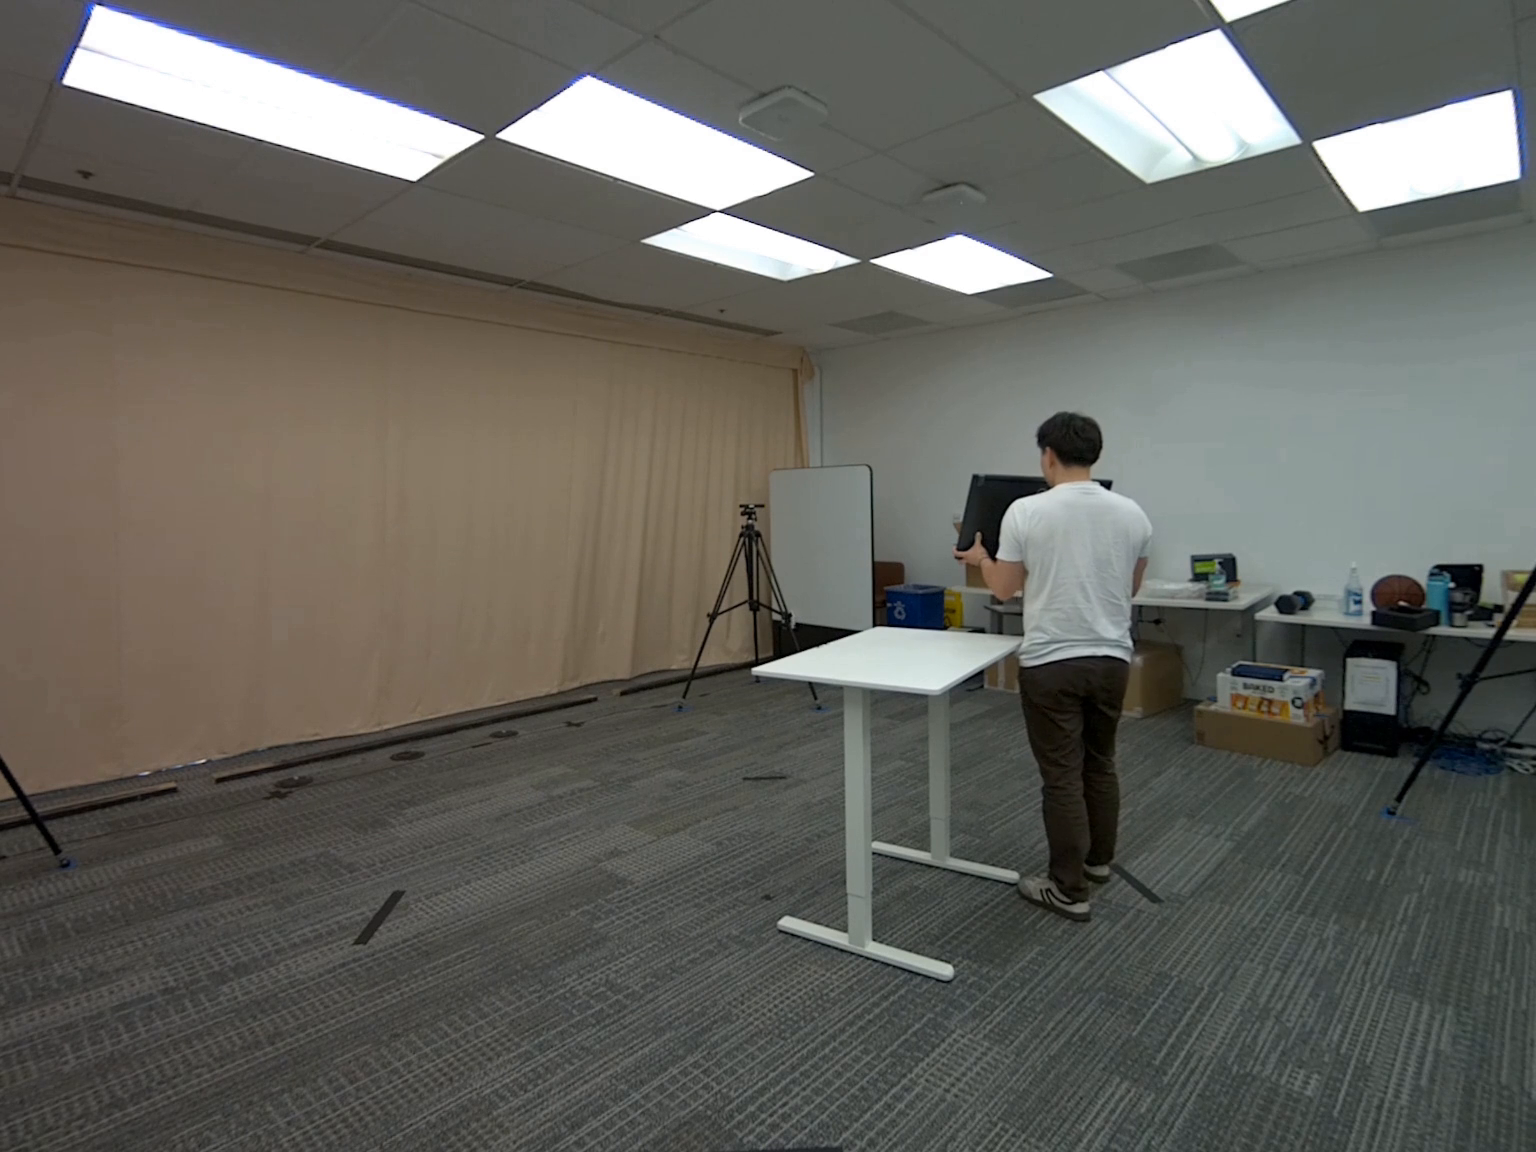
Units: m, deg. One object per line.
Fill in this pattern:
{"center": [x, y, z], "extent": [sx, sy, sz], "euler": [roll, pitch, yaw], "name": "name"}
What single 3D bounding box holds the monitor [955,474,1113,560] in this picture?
{"center": [1.021, -0.124, 3.168], "extent": [0.536, 0.519, 0.189], "euler": [1, 12, -5], "name": "monitor"}
